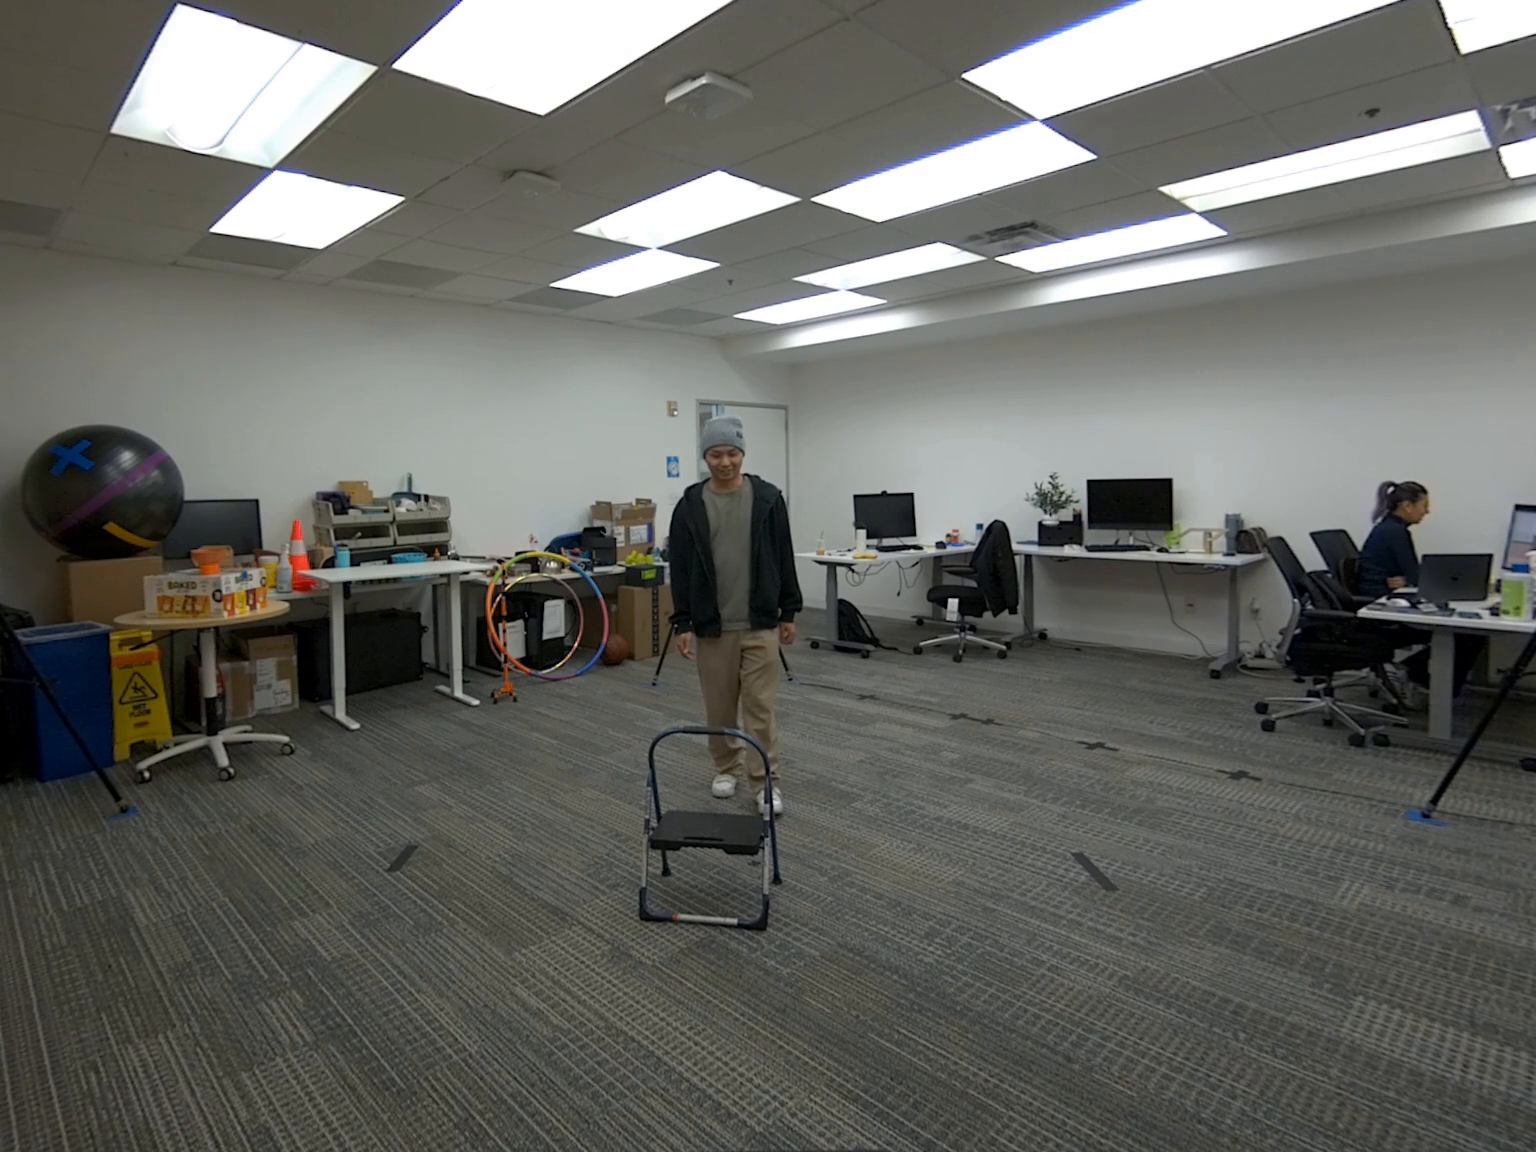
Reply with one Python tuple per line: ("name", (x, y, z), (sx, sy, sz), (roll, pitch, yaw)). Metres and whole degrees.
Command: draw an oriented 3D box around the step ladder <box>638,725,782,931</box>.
("step ladder", (-0.192, 0.780, 2.824), (0.435, 0.604, 0.347), (0, 4, 9))
